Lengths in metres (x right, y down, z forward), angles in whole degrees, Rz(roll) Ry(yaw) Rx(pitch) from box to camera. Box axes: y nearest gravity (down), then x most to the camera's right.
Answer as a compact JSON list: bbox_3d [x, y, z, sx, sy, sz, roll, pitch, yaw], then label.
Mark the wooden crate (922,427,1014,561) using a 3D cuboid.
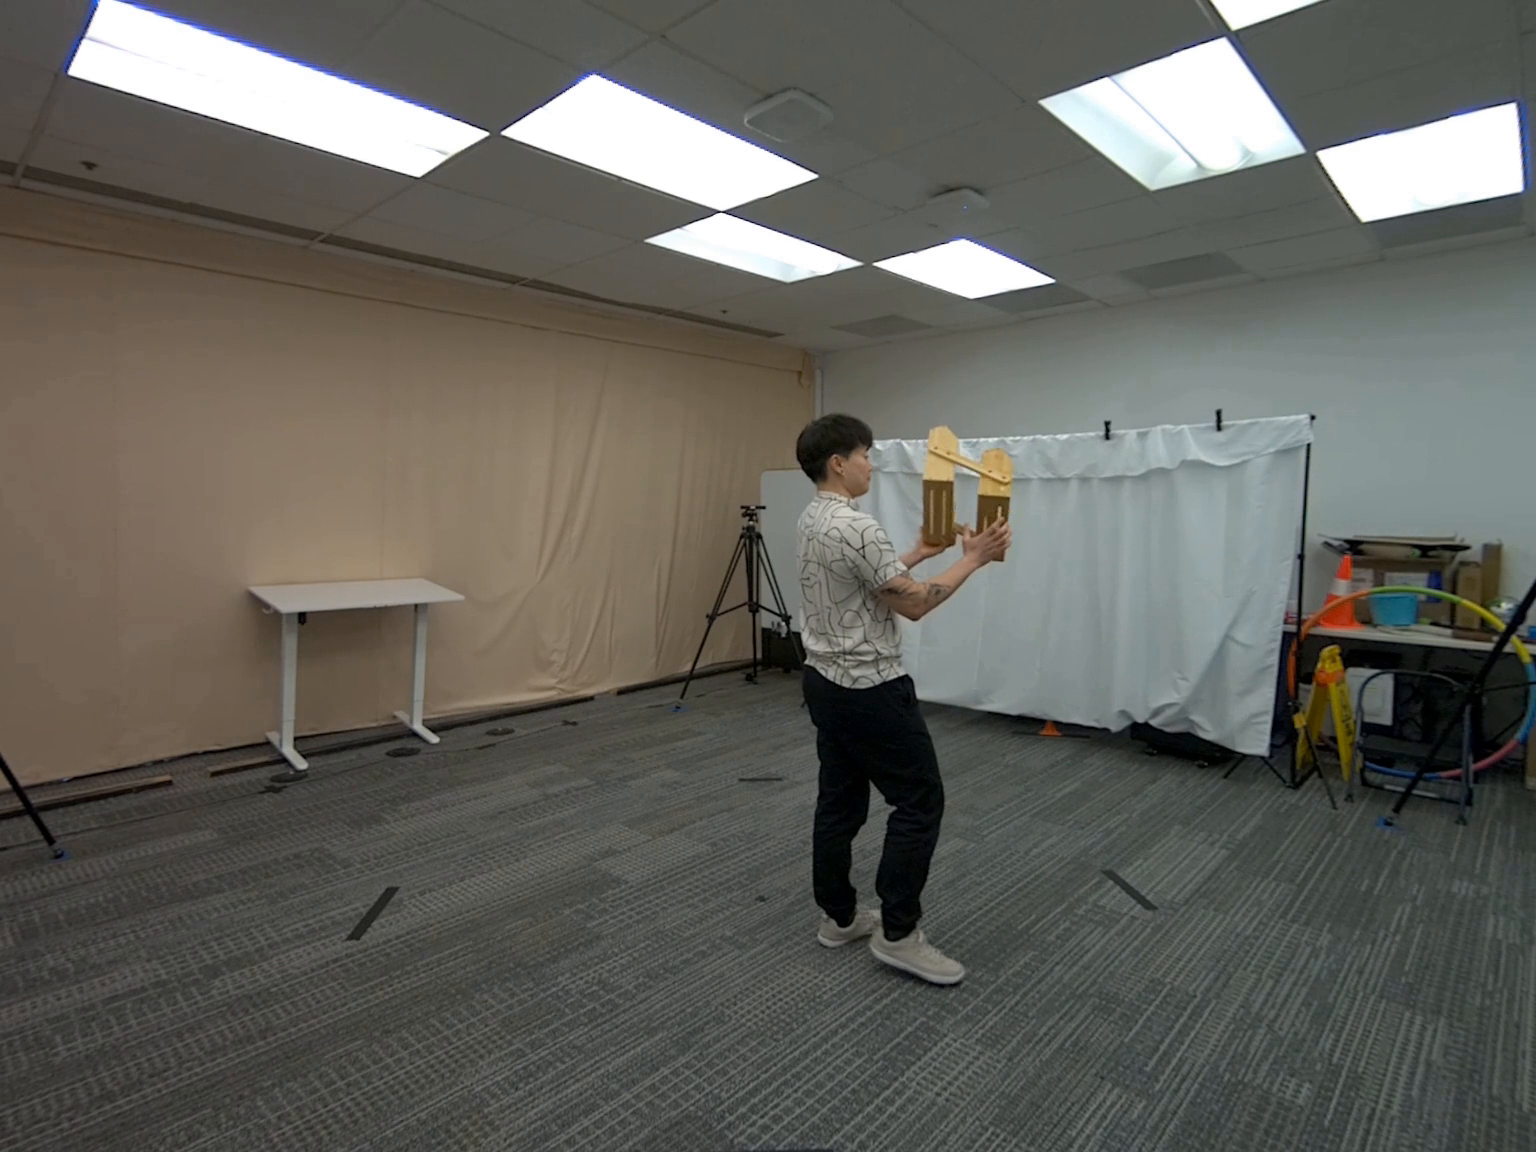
[{"bbox_3d":[0.656,-0.265,2.699,0.279,0.304,0.316,5,-38,18],"label":"wooden crate"}]
